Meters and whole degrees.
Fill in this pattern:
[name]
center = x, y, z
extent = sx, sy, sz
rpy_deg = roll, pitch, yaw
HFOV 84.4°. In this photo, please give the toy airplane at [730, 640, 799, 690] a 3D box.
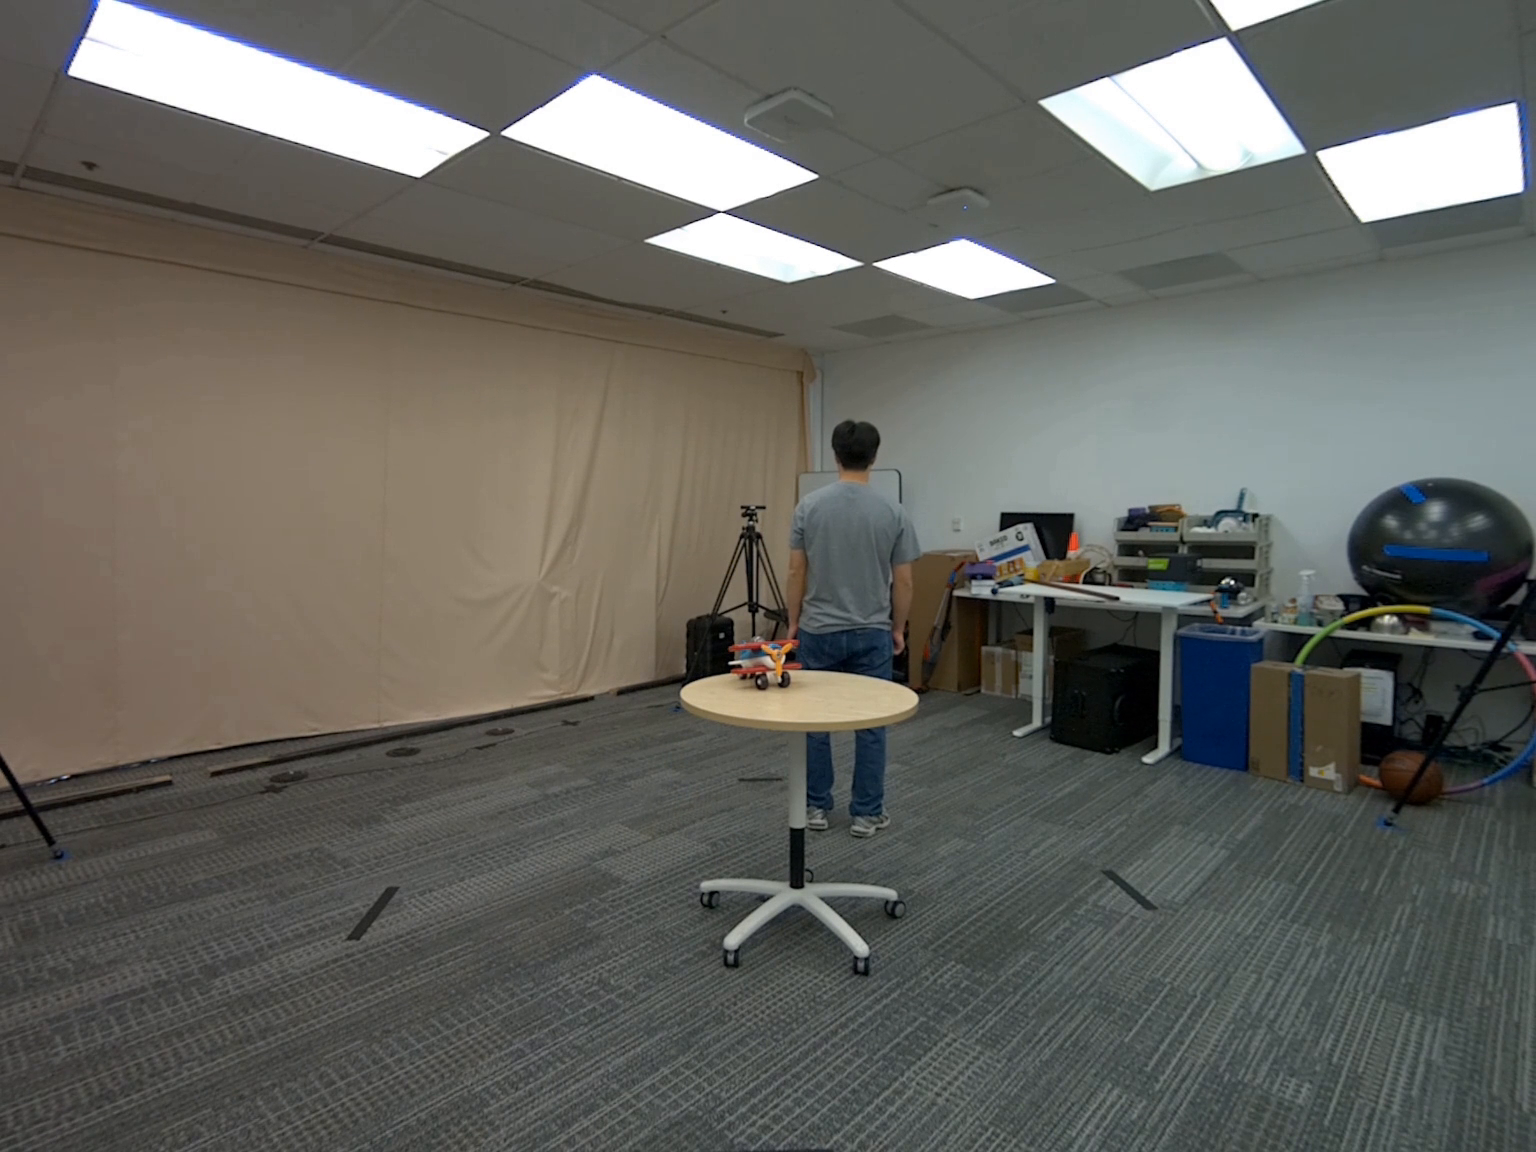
[toy airplane]
center = -0.033, 0.295, 2.863
extent = 0.267, 0.156, 0.244
rpy_deg = 3, 5, 34
